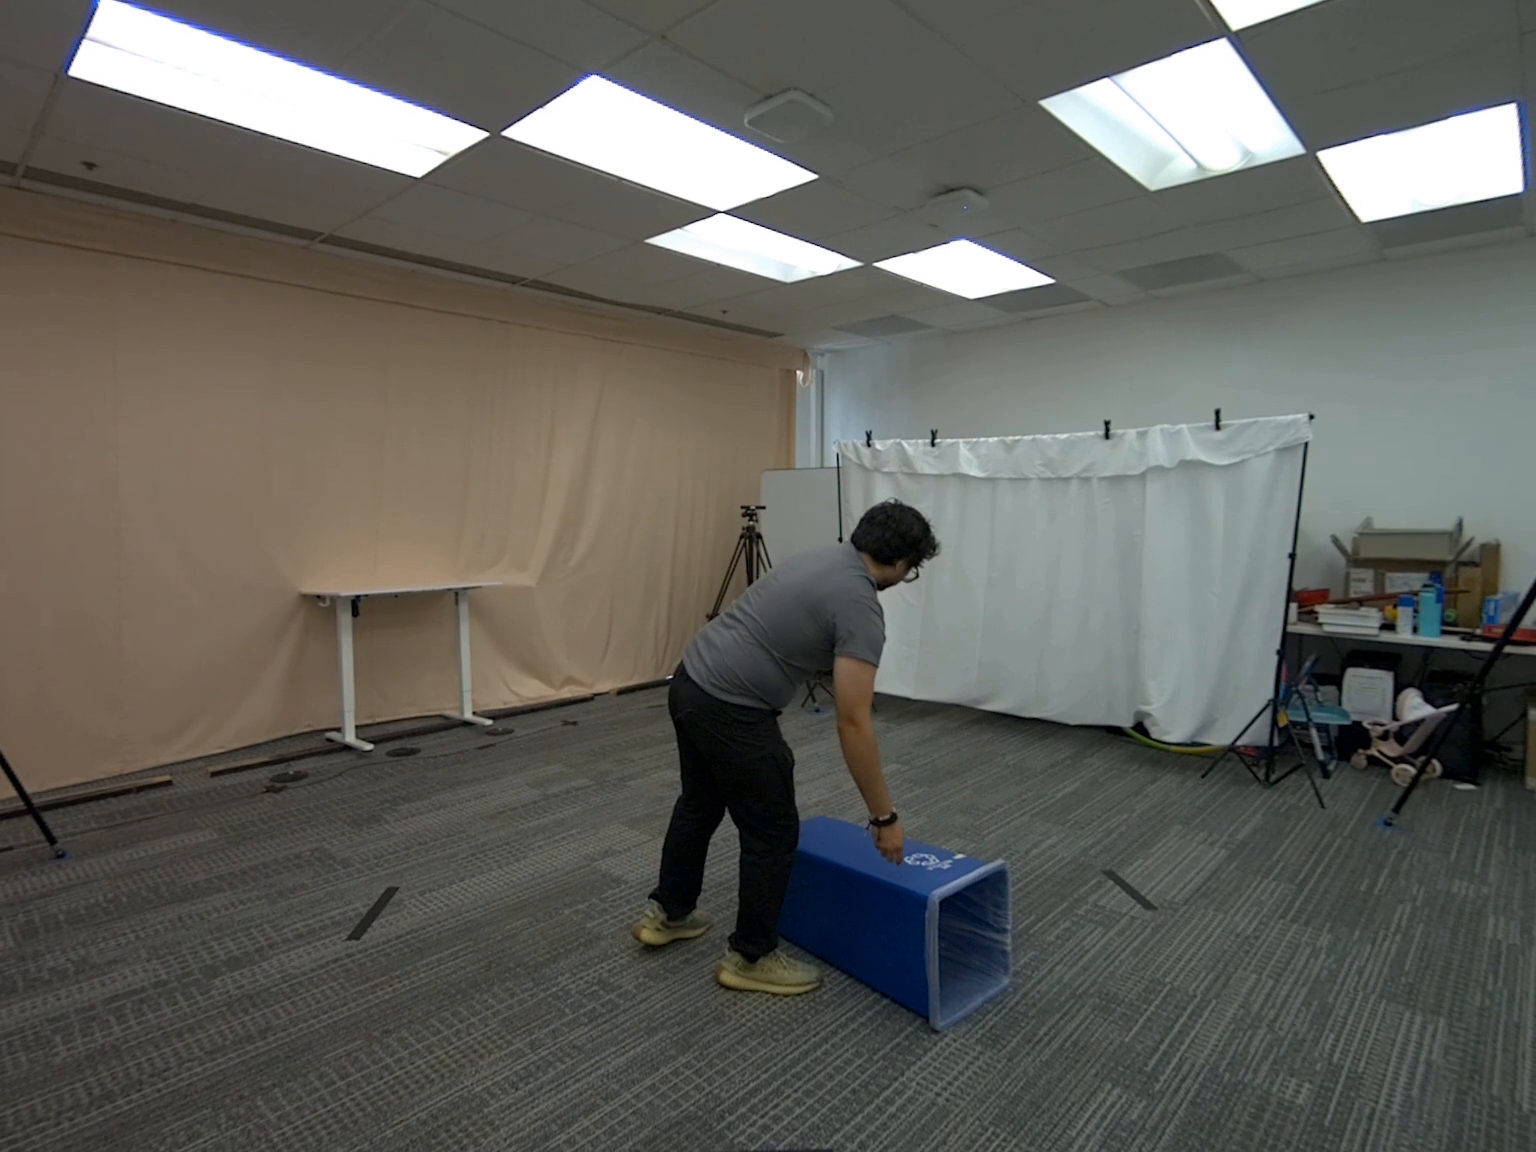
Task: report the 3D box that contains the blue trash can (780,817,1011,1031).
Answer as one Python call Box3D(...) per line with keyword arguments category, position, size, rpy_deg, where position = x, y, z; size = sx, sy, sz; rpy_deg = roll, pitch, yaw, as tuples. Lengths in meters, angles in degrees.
Box3D(category="blue trash can", position=(0.336, 1.001, 2.591), size=(0.366, 0.373, 0.737), rpy_deg=(-4, 4, -41))
